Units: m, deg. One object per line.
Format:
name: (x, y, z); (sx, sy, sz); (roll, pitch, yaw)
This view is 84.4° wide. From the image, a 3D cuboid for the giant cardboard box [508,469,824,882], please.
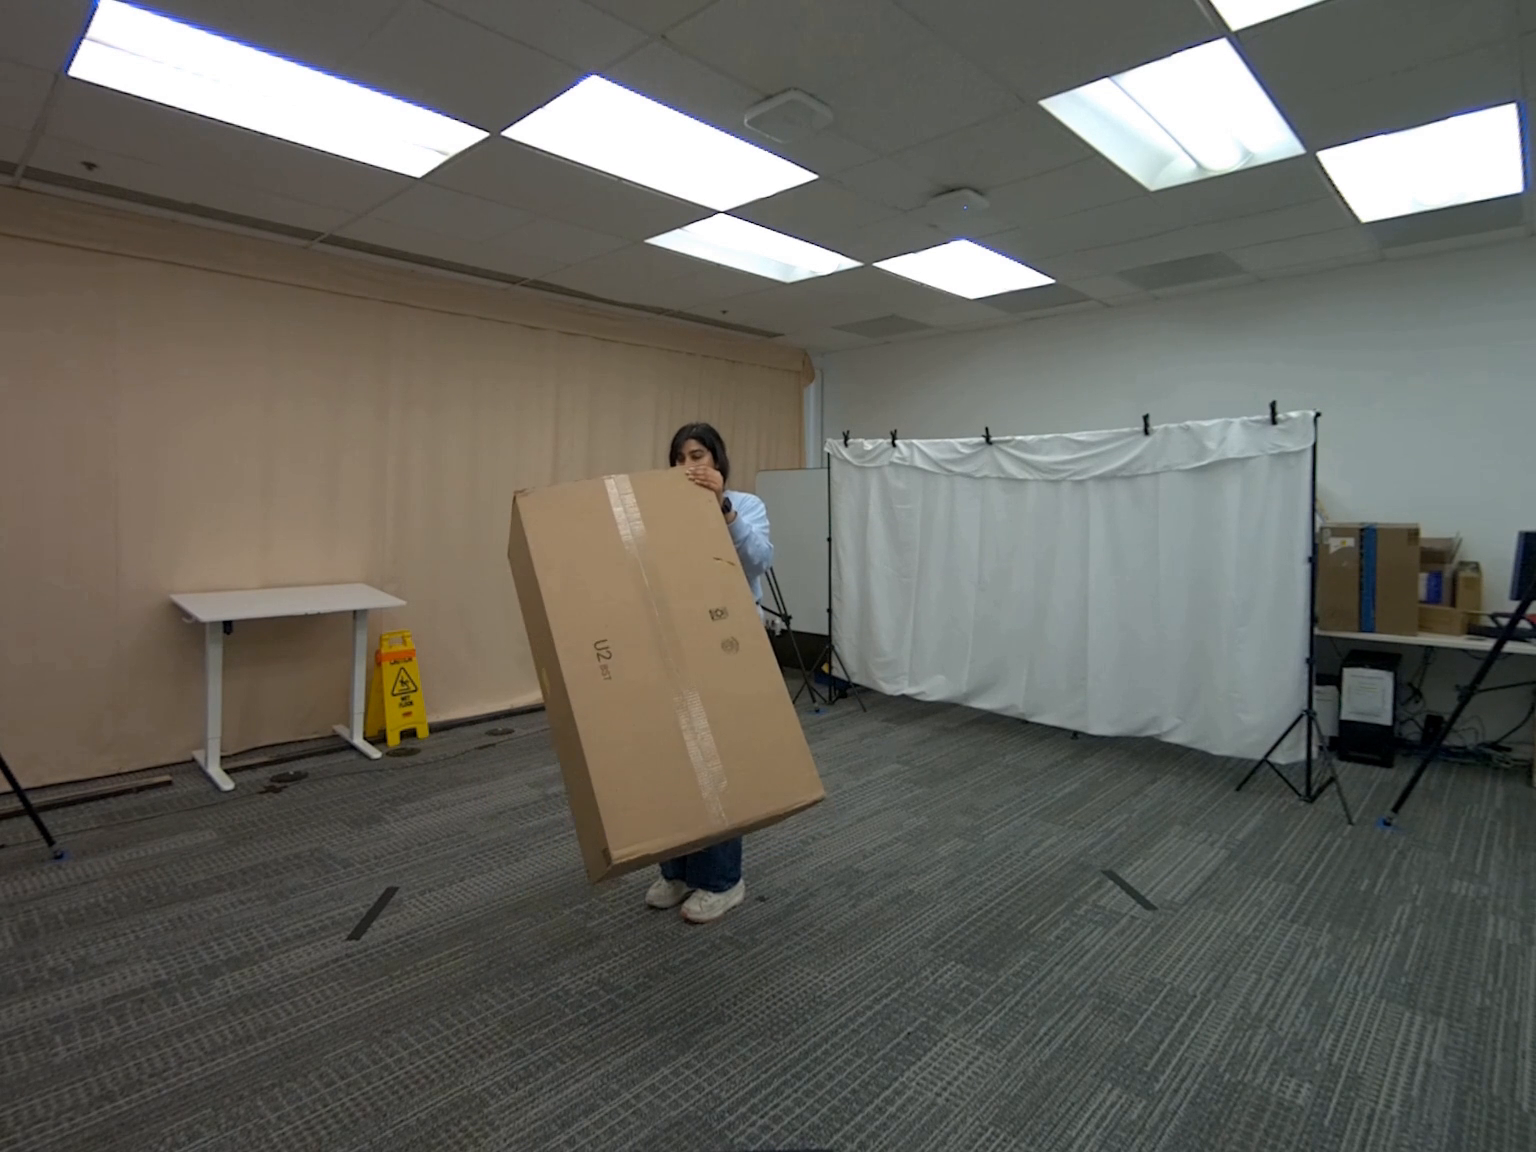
giant cardboard box: (-0.337, 0.253, 2.418); (0.573, 1.047, 0.447); (-12, -23, -23)
